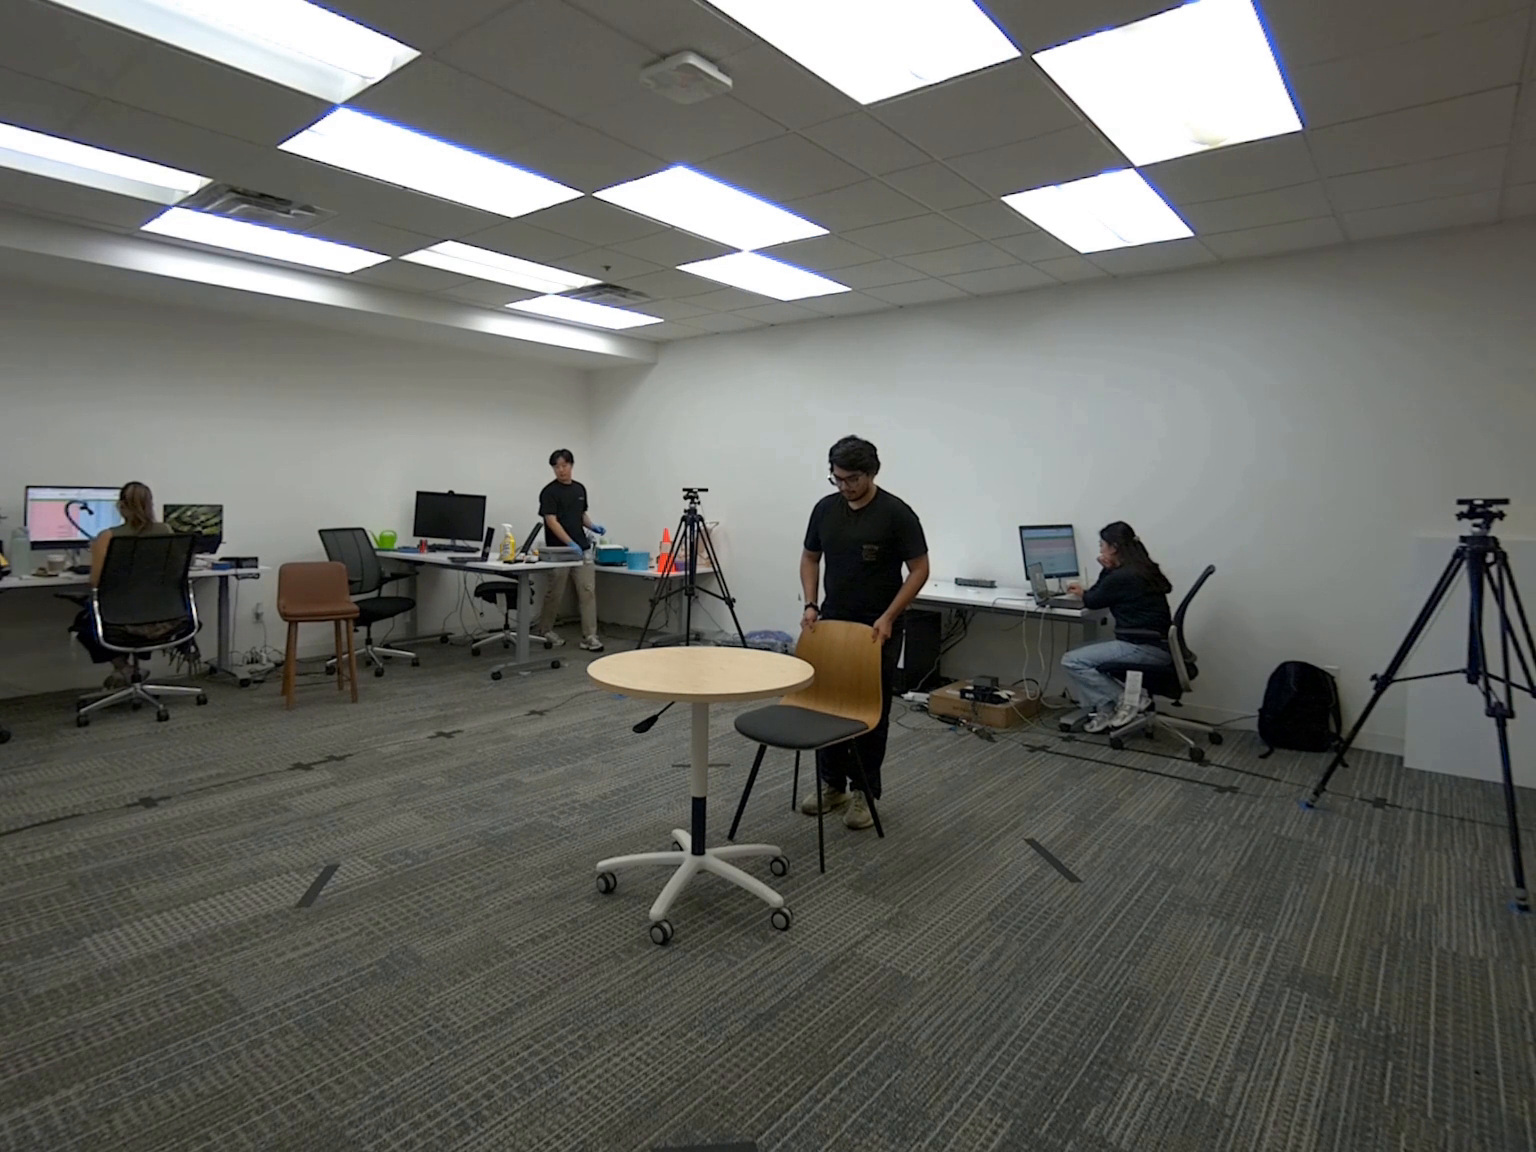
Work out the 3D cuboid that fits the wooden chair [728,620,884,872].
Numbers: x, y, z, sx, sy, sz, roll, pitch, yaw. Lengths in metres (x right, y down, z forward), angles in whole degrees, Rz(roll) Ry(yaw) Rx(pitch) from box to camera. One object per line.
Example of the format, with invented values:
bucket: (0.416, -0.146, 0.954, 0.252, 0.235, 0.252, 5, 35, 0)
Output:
wooden chair: (0.154, 0.625, 3.374, 0.494, 0.878, 0.506, 4, 0, 38)
